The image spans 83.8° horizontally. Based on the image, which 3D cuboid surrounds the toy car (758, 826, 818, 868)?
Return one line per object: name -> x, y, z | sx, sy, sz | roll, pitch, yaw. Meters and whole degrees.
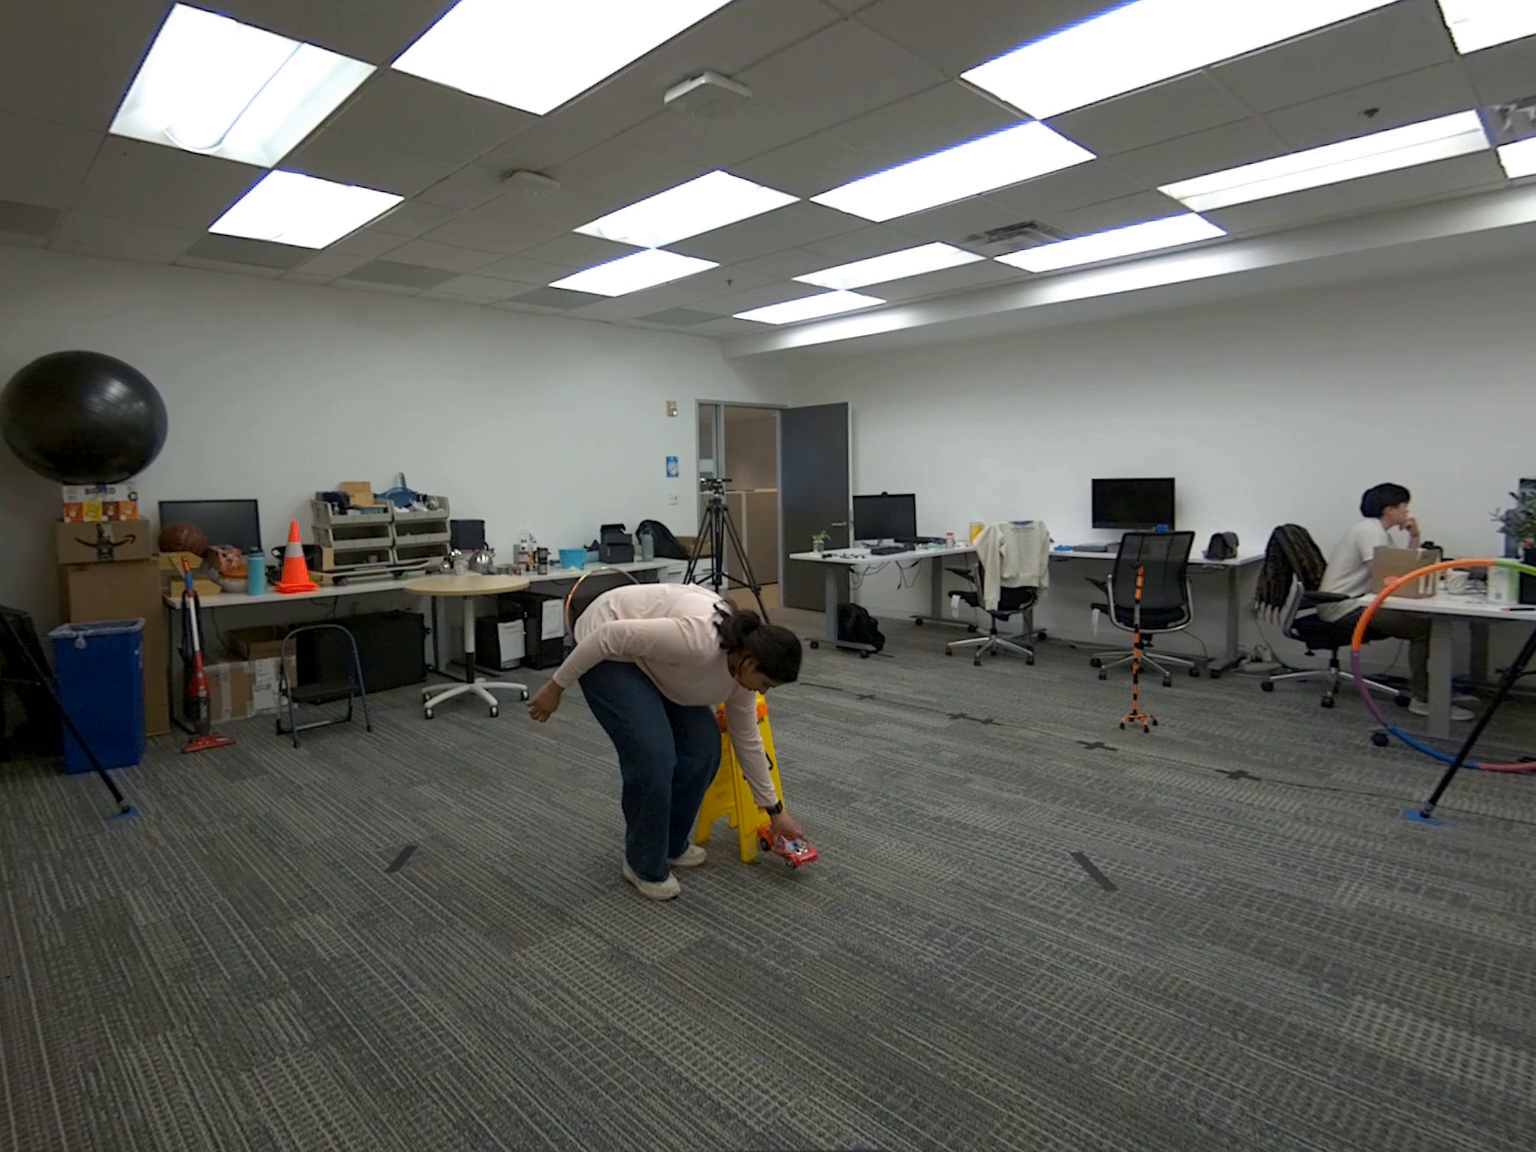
toy car -> 0.047, 0.962, 3.059 | 0.127, 0.082, 0.264 | -8, 25, -34
